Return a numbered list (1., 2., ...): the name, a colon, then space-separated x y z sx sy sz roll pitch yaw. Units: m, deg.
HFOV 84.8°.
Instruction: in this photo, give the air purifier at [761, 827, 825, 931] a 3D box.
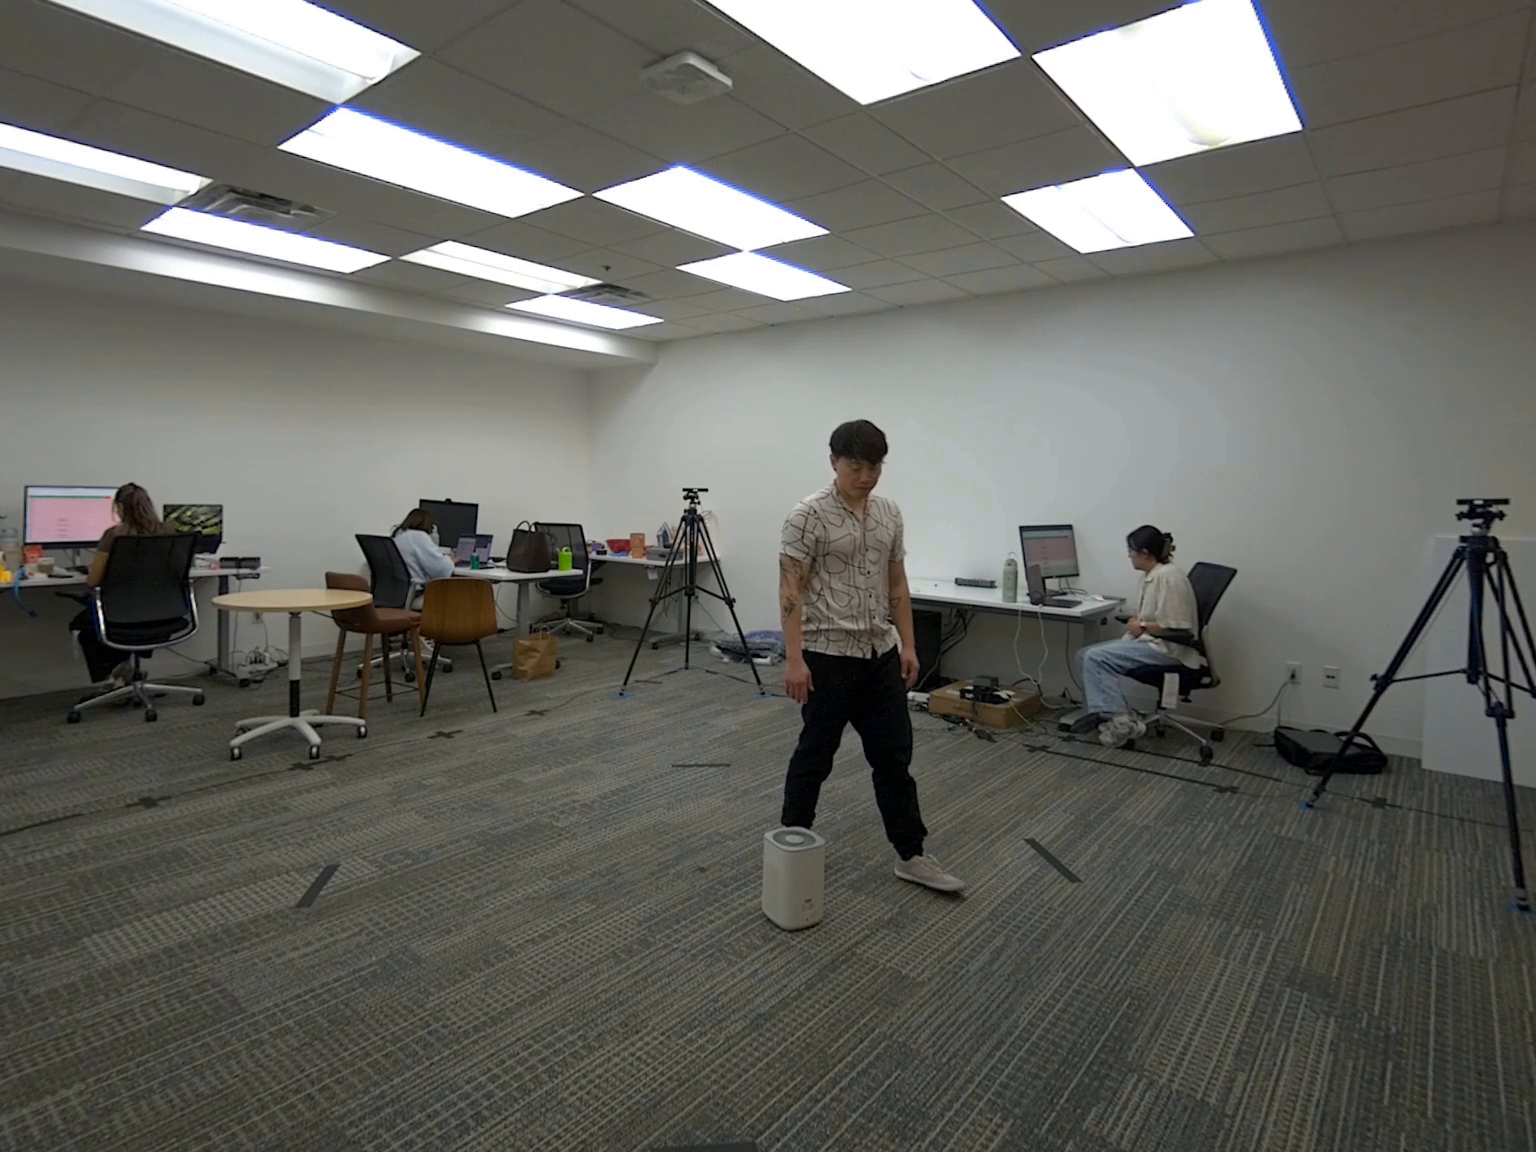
1. air purifier: 0.079 0.974 2.759 0.167 0.265 0.176 1 2 -31
